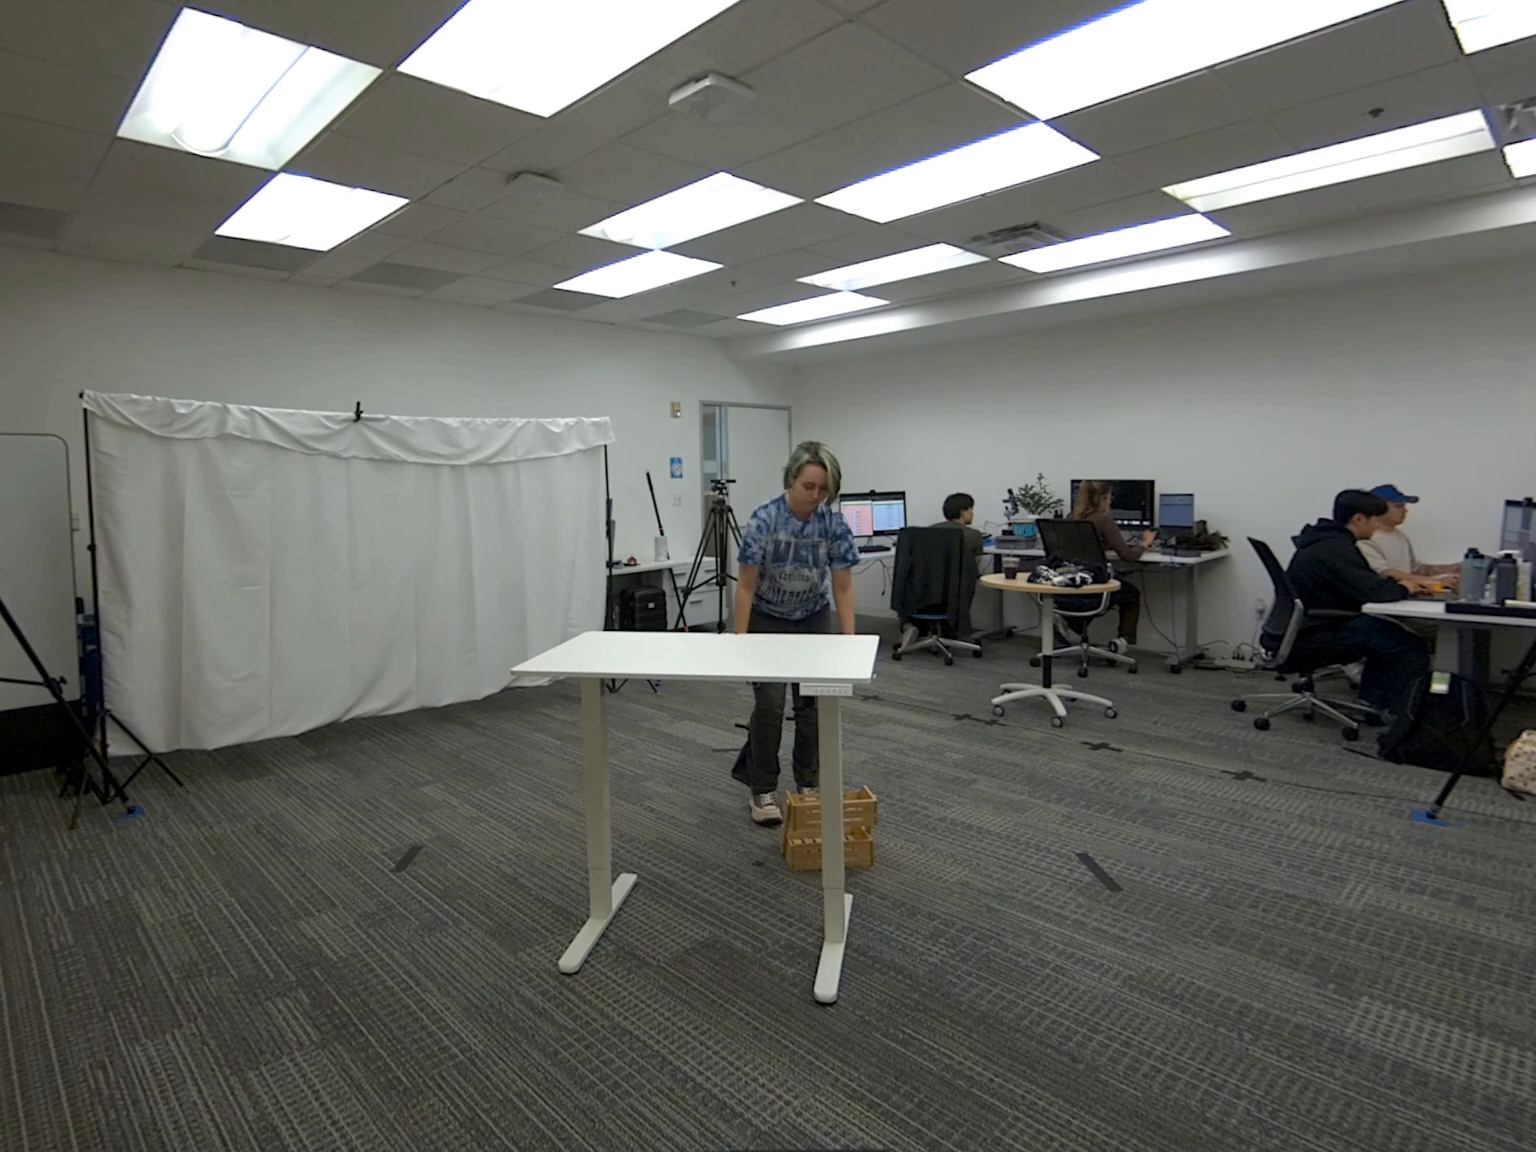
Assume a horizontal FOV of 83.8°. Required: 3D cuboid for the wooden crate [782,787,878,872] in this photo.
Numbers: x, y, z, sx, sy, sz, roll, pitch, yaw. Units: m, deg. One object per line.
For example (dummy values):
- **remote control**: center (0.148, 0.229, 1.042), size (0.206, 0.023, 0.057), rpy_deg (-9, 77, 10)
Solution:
- **wooden crate**: center (0.216, 0.907, 3.150), size (0.322, 0.272, 0.306), rpy_deg (-2, 6, -9)
